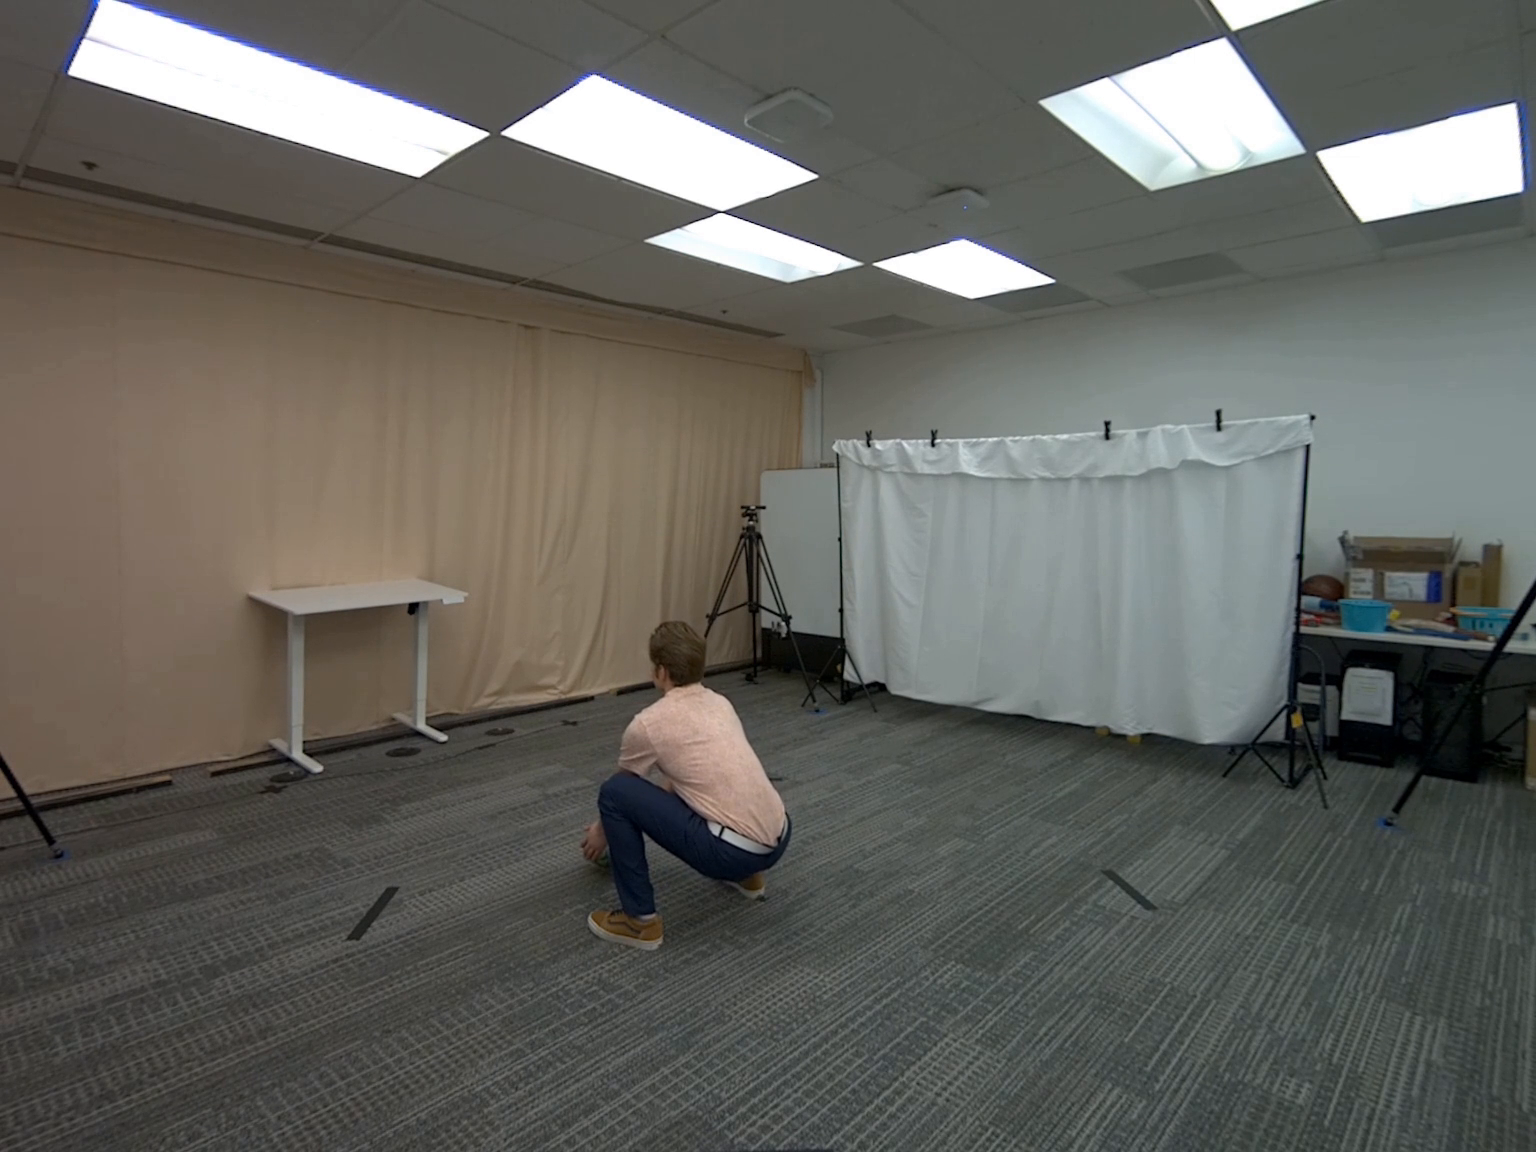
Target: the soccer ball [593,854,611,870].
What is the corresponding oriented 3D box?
[{"bbox_3d":[-0.603,1.028,3.225,0.187,0.187,0.188,0,4,-2],"label":"soccer ball"}]
